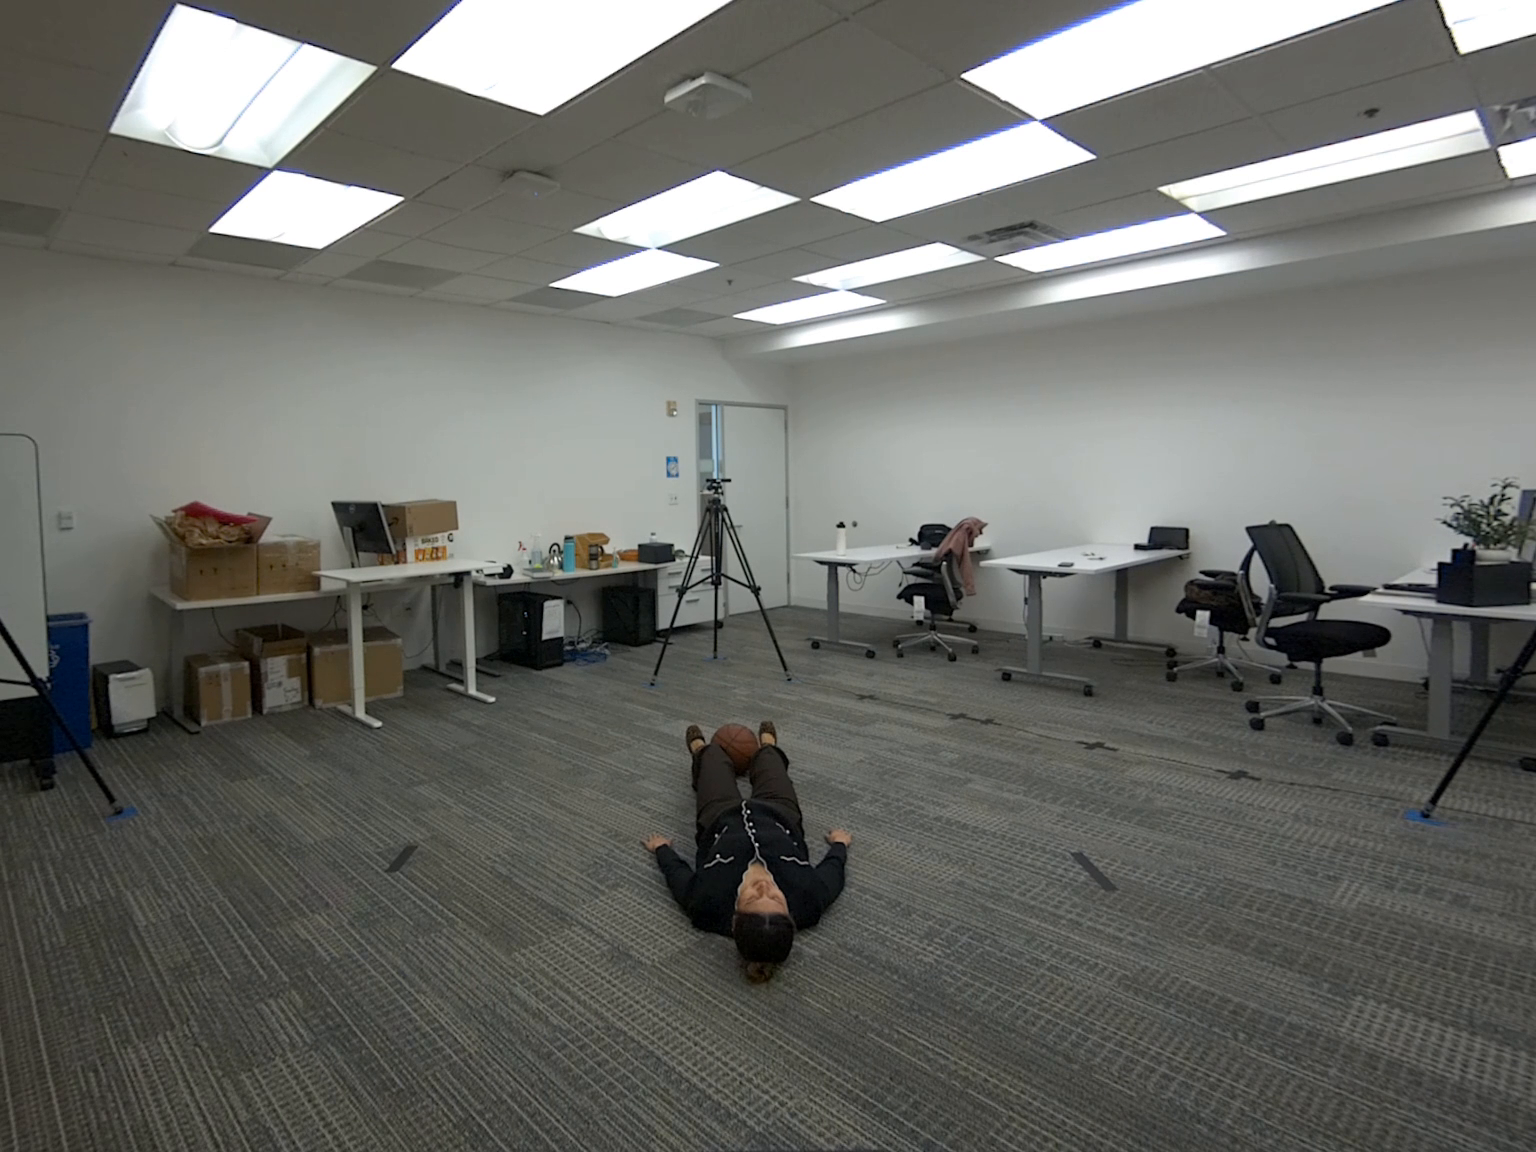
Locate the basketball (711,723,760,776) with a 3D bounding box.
[{"bbox_3d":[-0.161,0.820,4.060,0.236,0.235,0.237,-4,4,-1],"label":"basketball"}]
